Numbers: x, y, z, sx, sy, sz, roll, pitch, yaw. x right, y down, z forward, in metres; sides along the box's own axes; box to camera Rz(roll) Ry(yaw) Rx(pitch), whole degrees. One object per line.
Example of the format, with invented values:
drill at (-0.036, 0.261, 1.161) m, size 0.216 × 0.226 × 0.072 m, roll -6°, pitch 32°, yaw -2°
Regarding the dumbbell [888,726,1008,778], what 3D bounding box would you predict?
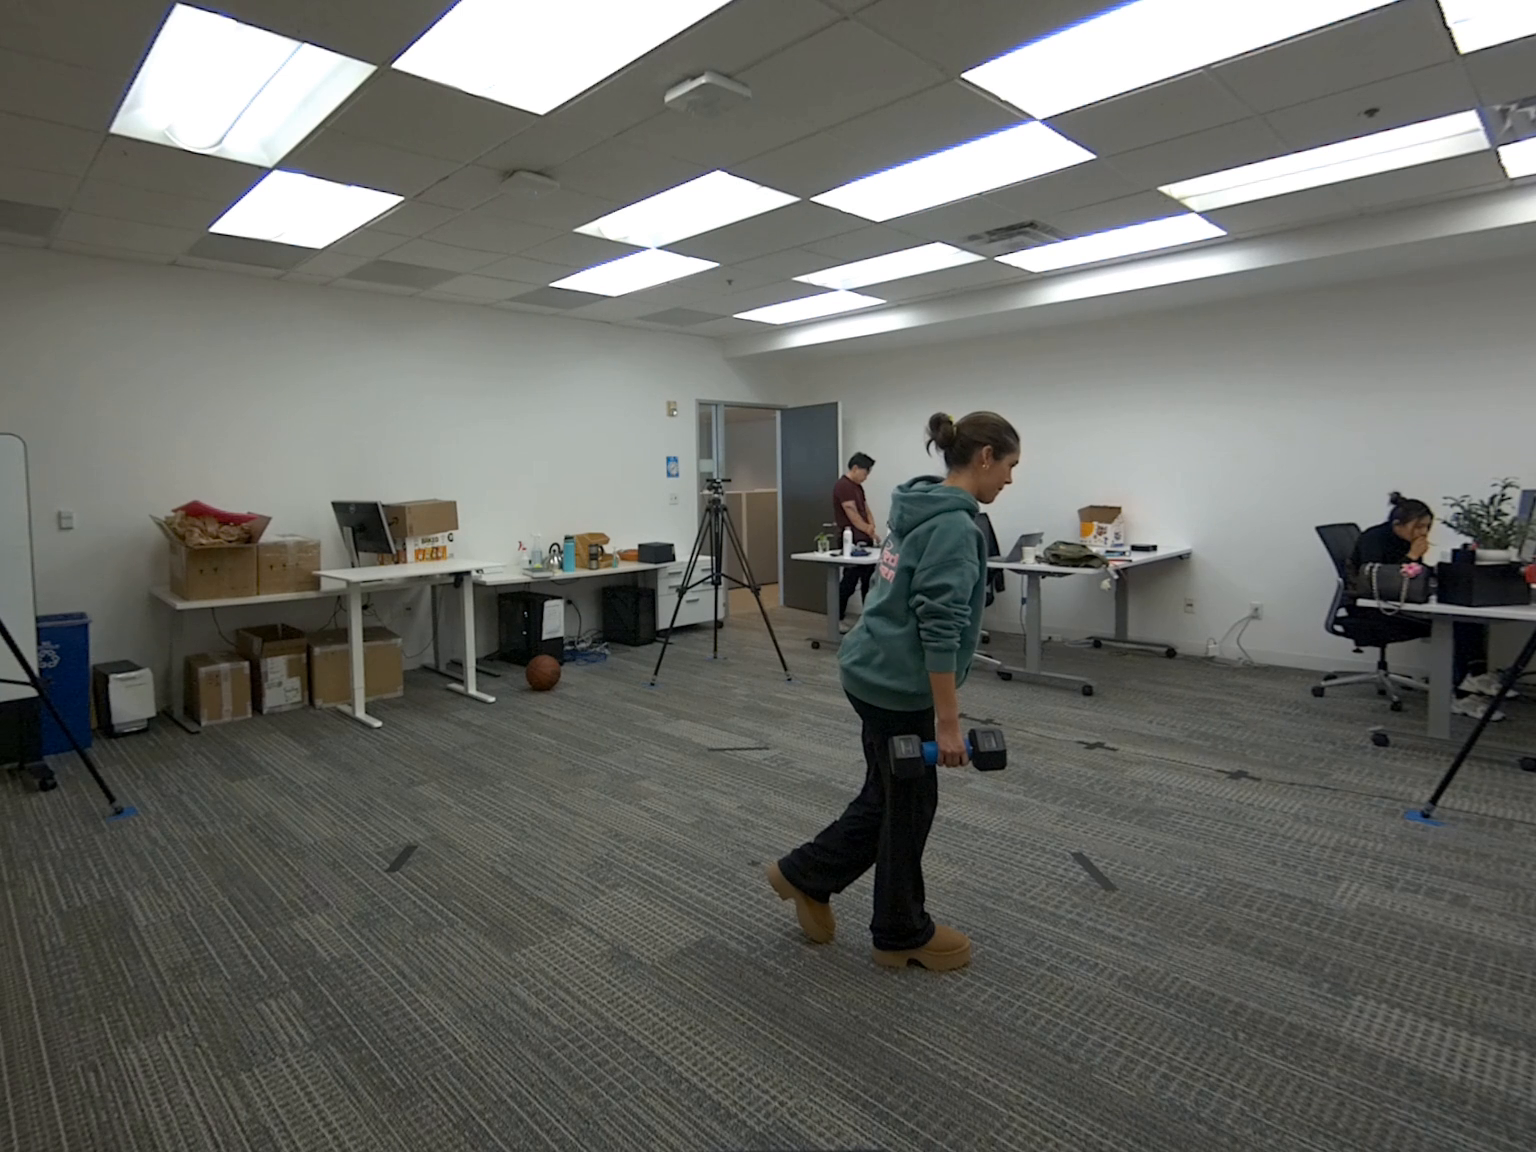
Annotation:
dumbbell at (0.480, 0.467, 2.253) m, size 0.295 × 0.120 × 0.110 m, roll -7°, pitch 23°, yaw 5°
